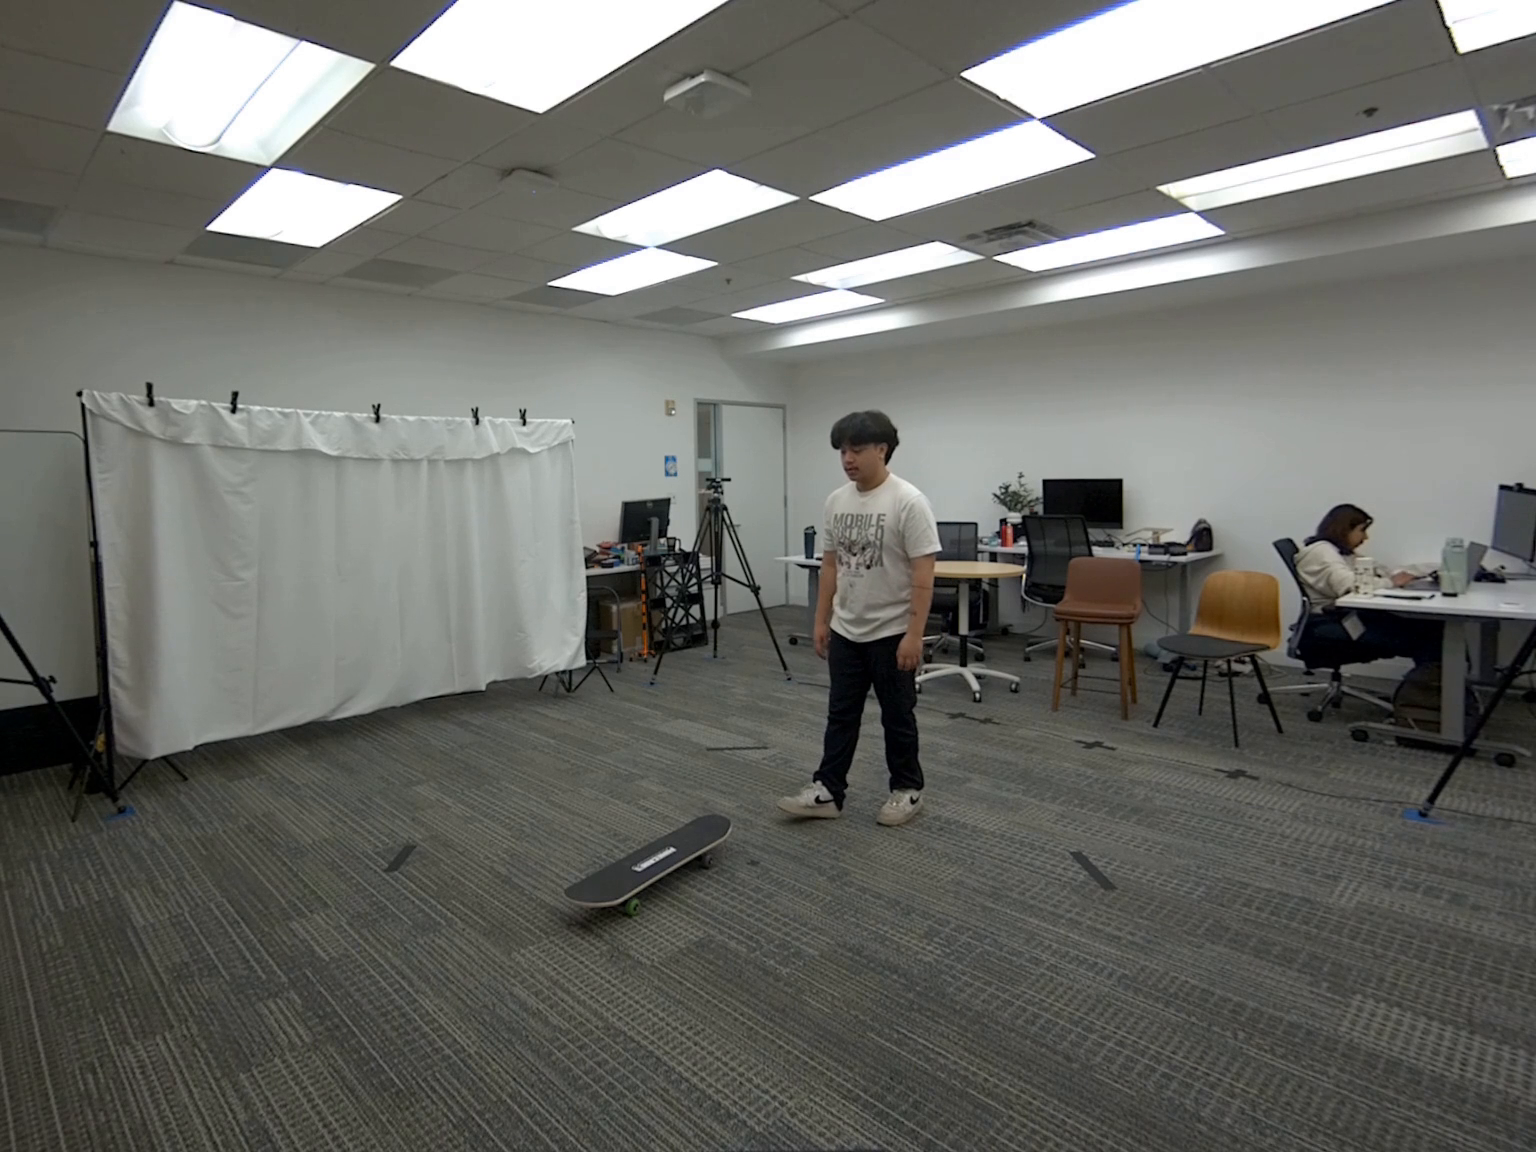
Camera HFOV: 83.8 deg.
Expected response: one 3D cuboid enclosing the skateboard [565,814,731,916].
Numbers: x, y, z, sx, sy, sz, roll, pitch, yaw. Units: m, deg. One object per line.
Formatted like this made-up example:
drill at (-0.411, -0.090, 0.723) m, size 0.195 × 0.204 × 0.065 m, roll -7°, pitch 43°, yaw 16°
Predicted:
skateboard at (-0.390, 1.007, 2.957) m, size 0.199 × 0.110 × 0.767 m, roll 3°, pitch 8°, yaw 33°
